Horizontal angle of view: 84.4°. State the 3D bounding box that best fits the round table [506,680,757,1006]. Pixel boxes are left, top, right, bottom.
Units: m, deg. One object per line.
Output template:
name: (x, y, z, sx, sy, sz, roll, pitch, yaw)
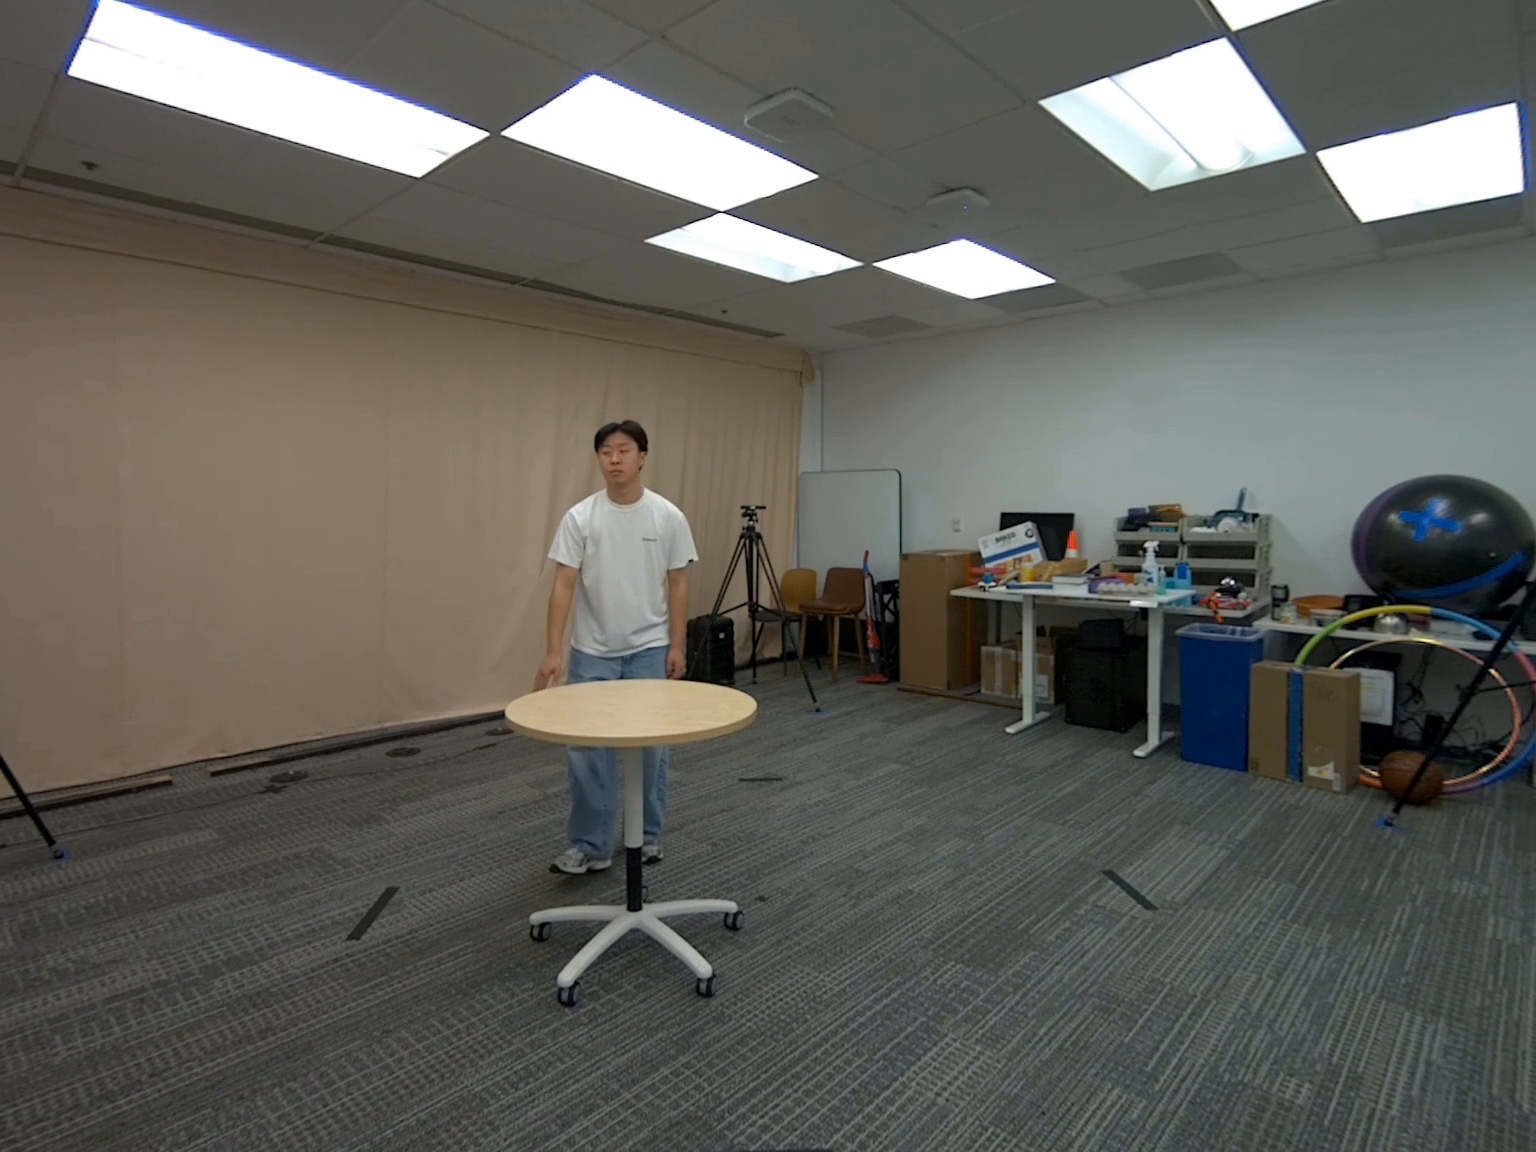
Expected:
round table: (-0.403, 0.789, 2.611, 0.763, 0.792, 0.766, 0, 3, -2)
